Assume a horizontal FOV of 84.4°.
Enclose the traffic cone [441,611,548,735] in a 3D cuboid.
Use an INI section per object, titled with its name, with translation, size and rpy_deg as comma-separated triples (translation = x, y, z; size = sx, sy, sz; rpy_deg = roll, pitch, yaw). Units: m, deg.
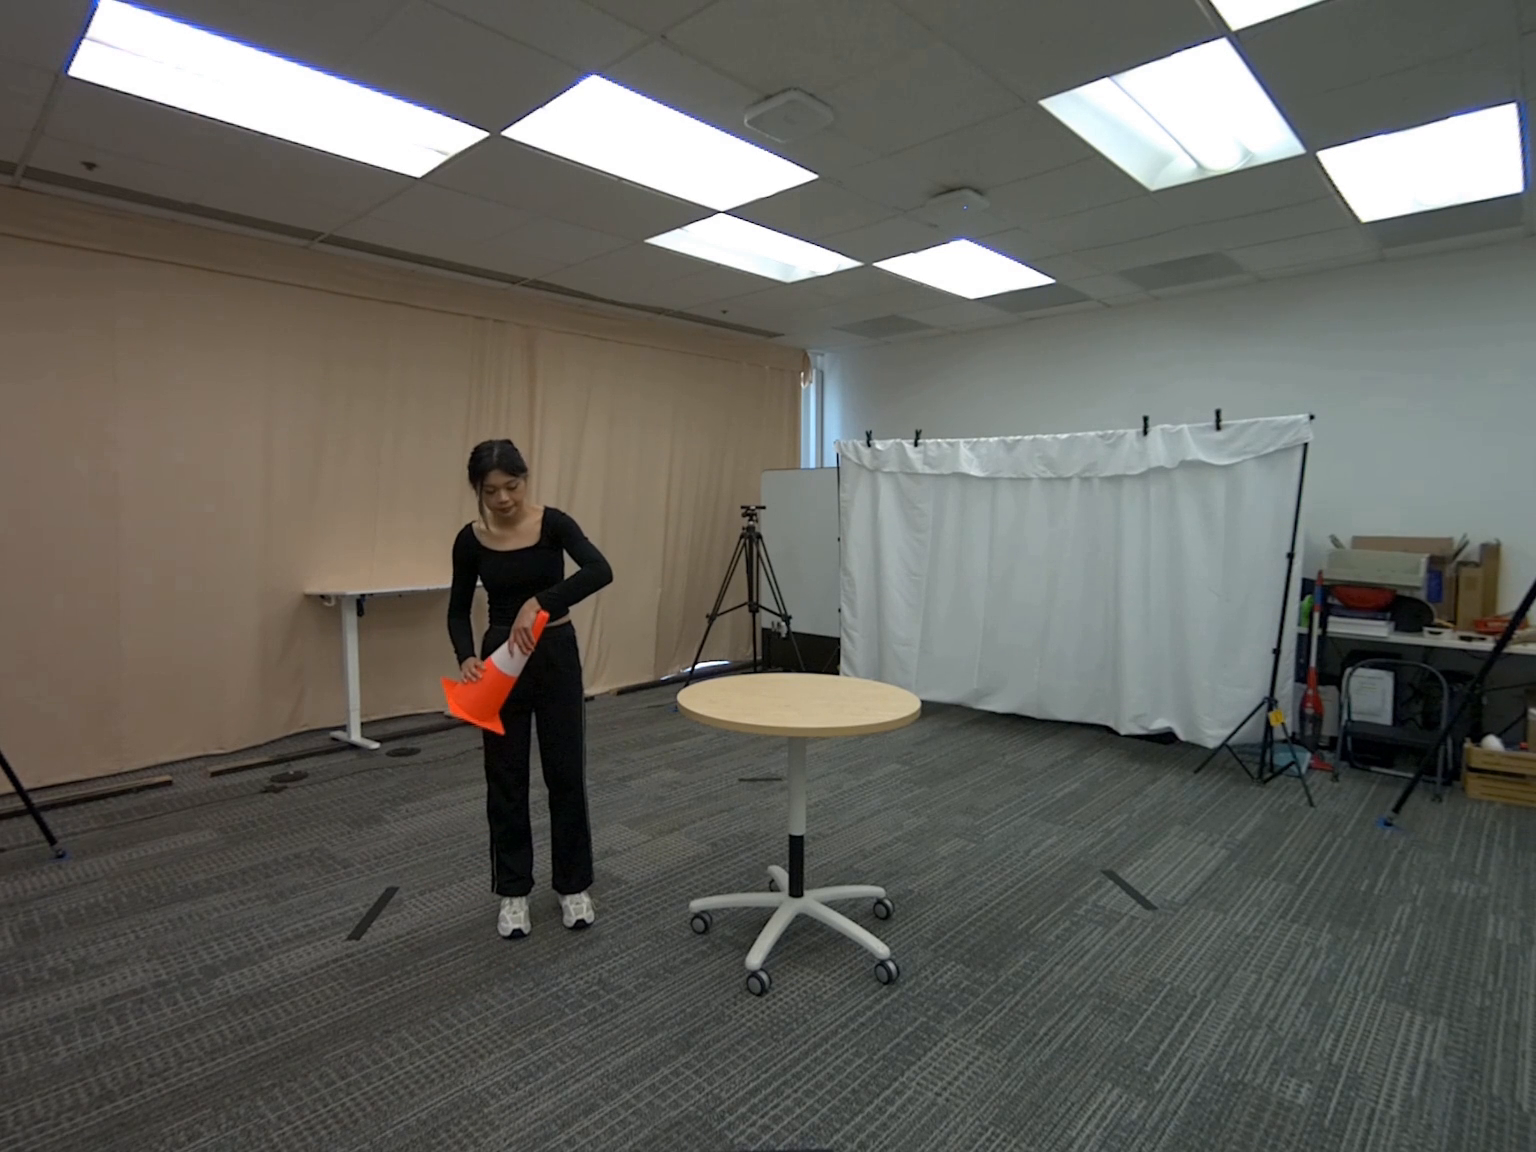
[traffic cone]
translation = -0.797, 0.254, 2.585
size = 0.197, 0.384, 0.211
rpy_deg = 32, 9, -44
